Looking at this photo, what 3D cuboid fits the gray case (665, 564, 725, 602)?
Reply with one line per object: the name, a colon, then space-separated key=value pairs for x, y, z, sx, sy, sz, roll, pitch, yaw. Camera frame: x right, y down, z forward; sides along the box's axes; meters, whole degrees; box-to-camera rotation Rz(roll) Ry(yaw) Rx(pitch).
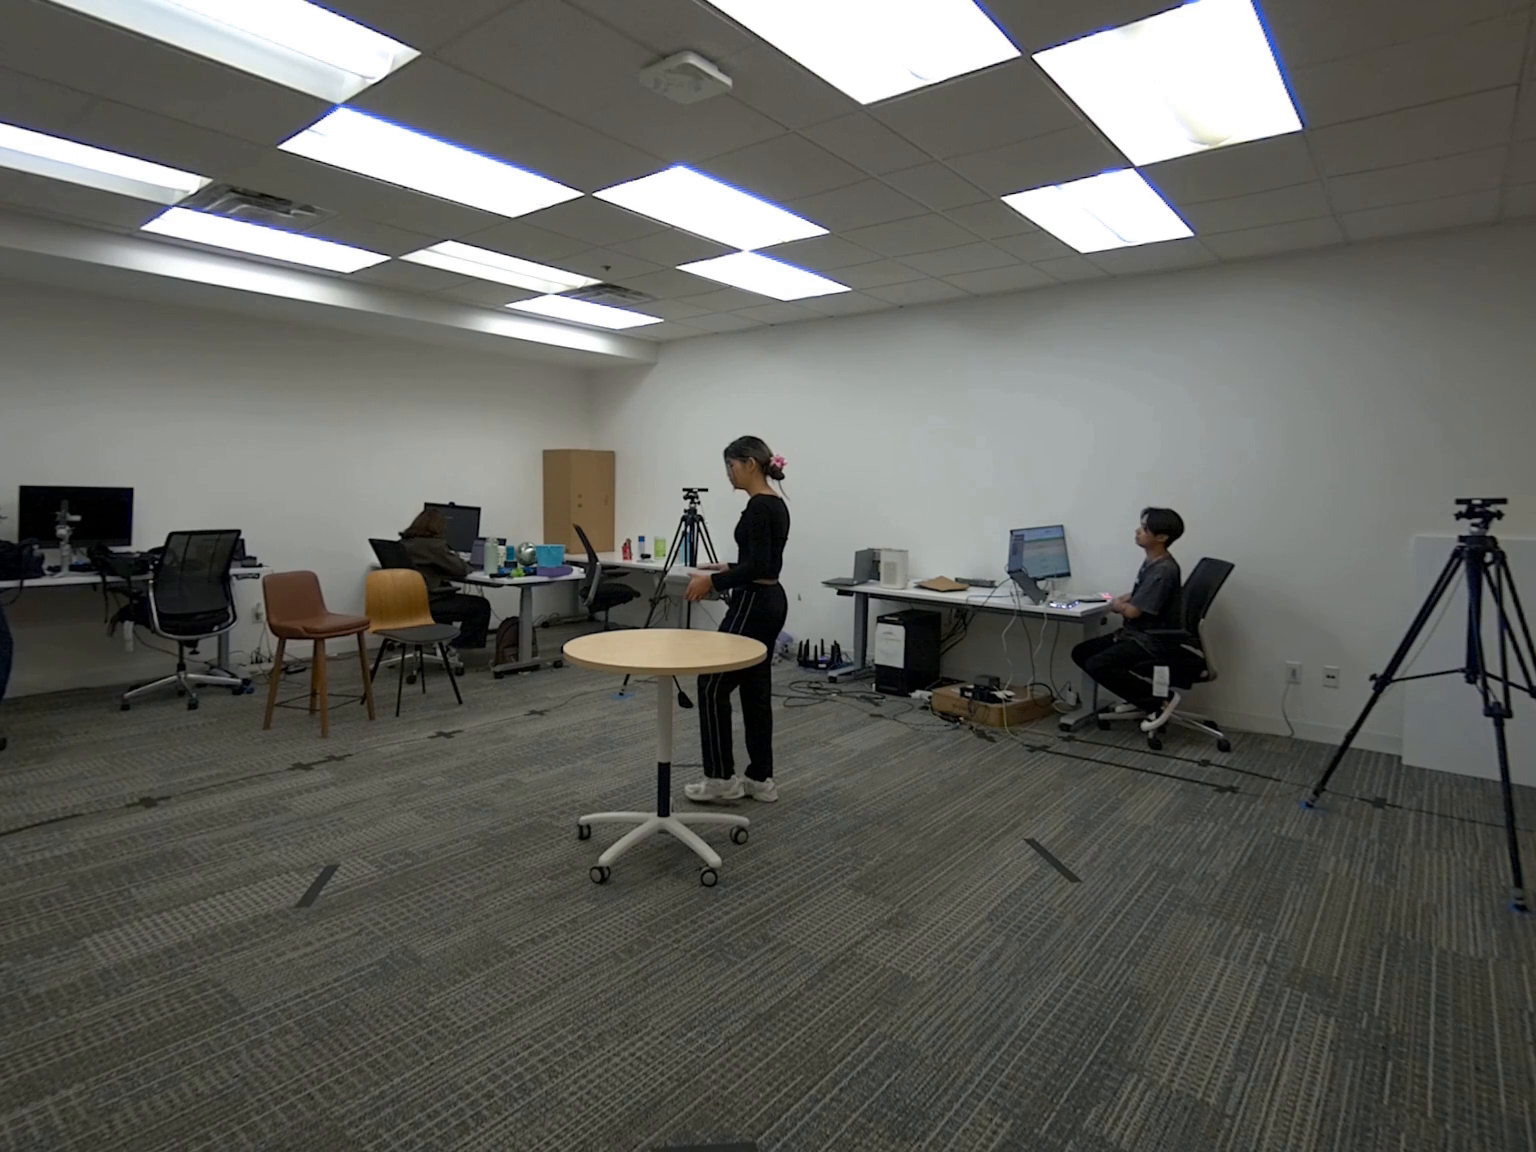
gray case: x=-0.333 y=0.025 z=3.869 sx=0.260 sy=0.104 sz=0.259 roll=6 pitch=8 yaw=-4
